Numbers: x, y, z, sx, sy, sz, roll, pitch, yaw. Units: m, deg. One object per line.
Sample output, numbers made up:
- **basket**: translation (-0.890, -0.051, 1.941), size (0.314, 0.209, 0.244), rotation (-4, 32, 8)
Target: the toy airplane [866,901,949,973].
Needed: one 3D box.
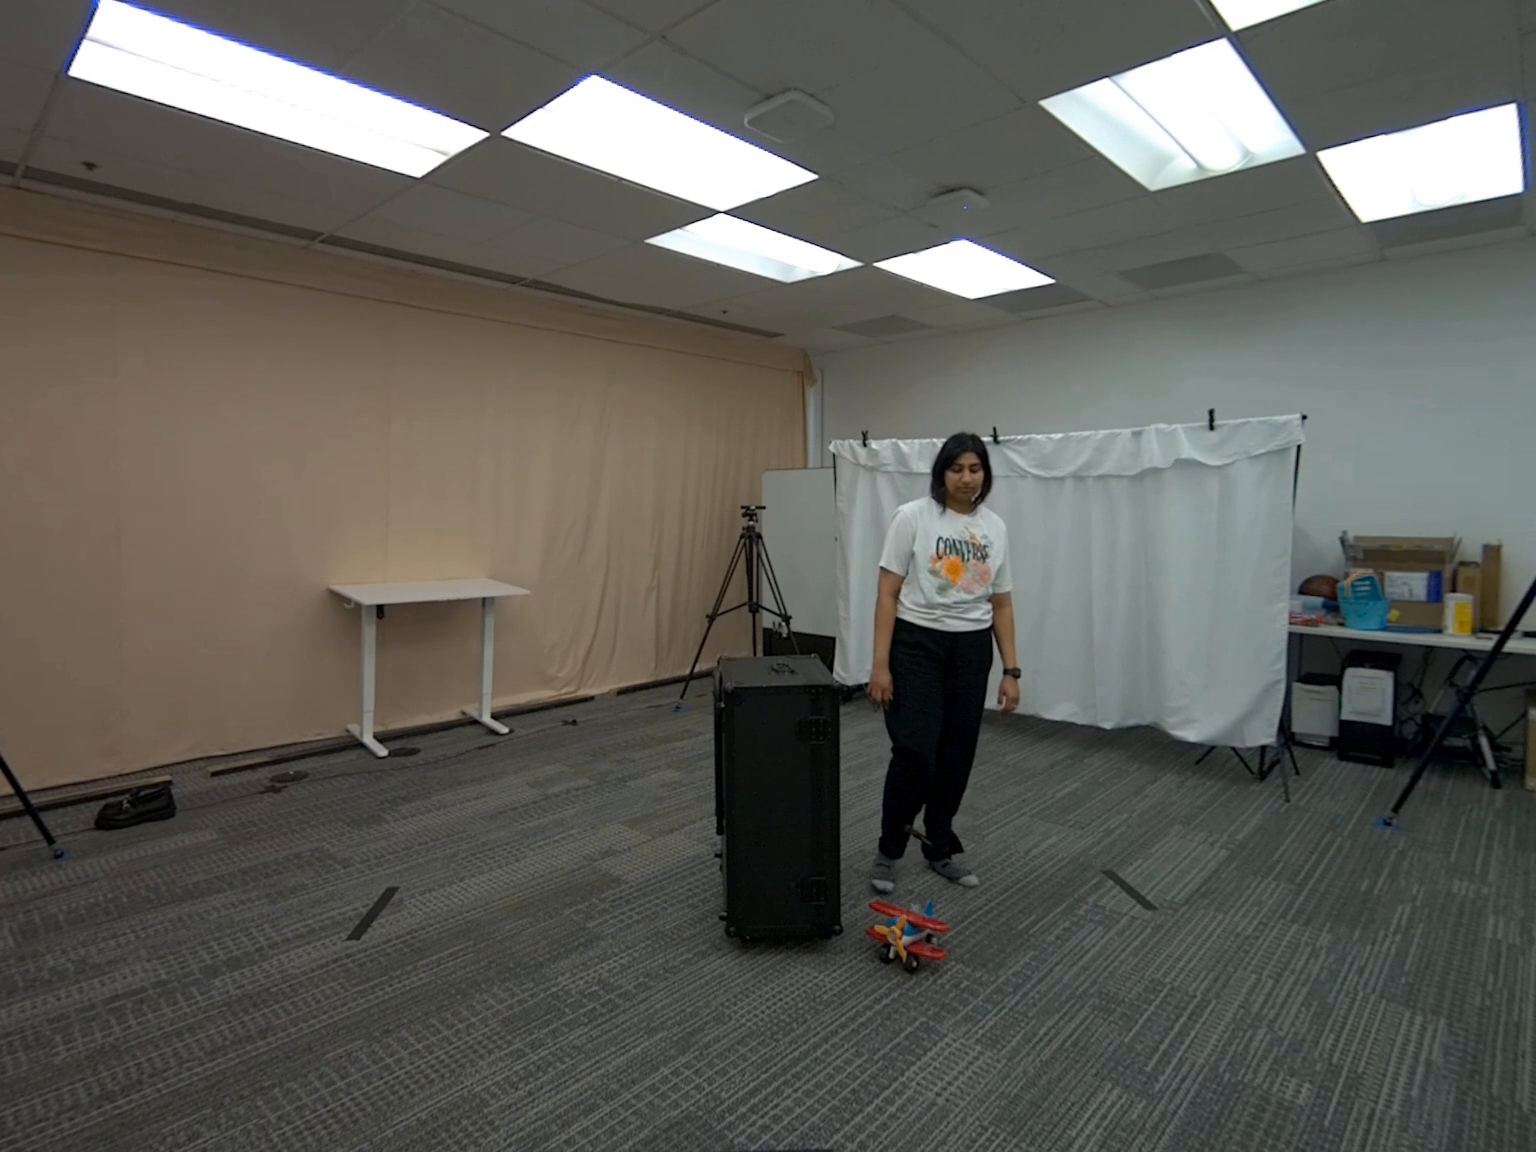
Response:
- **toy airplane**: translation (0.437, 1.107, 2.597), size (0.254, 0.156, 0.257), rotation (1, 6, 9)
